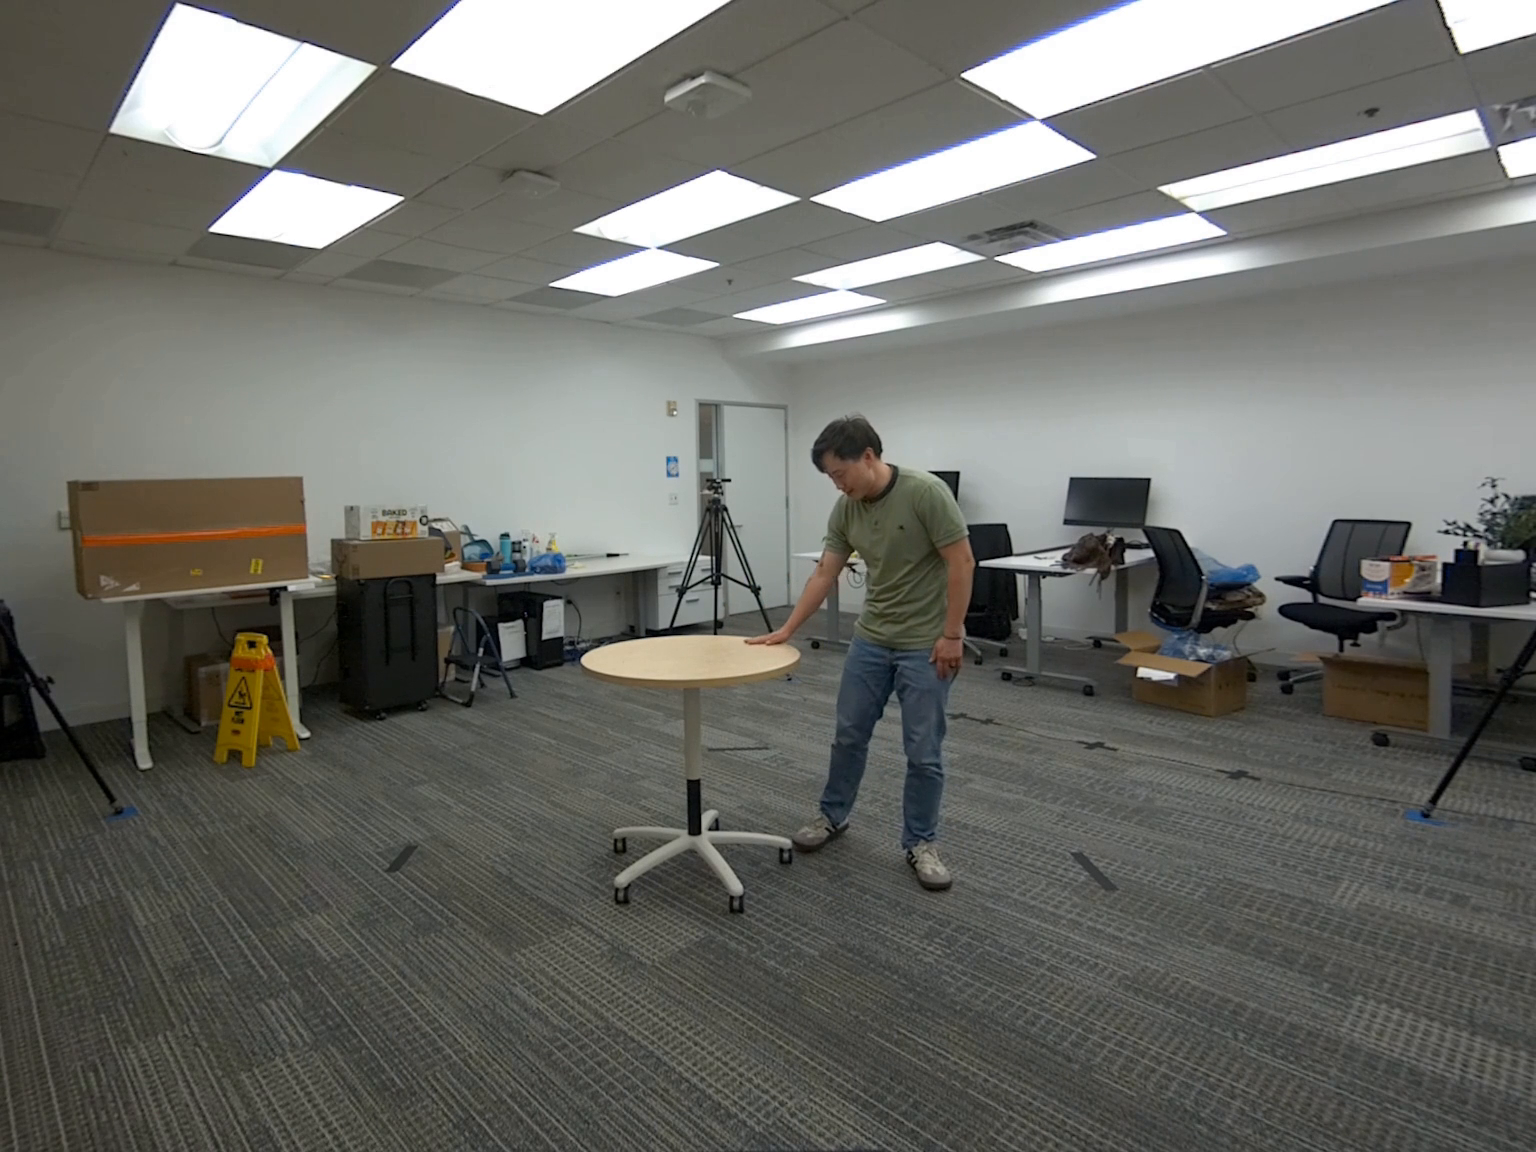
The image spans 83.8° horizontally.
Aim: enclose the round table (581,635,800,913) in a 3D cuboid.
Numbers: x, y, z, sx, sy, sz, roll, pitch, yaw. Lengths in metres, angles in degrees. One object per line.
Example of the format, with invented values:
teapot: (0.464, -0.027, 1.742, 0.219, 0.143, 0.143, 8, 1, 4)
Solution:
round table: (-0.261, 0.669, 3.021, 0.763, 0.791, 0.768, -1, 5, -2)
